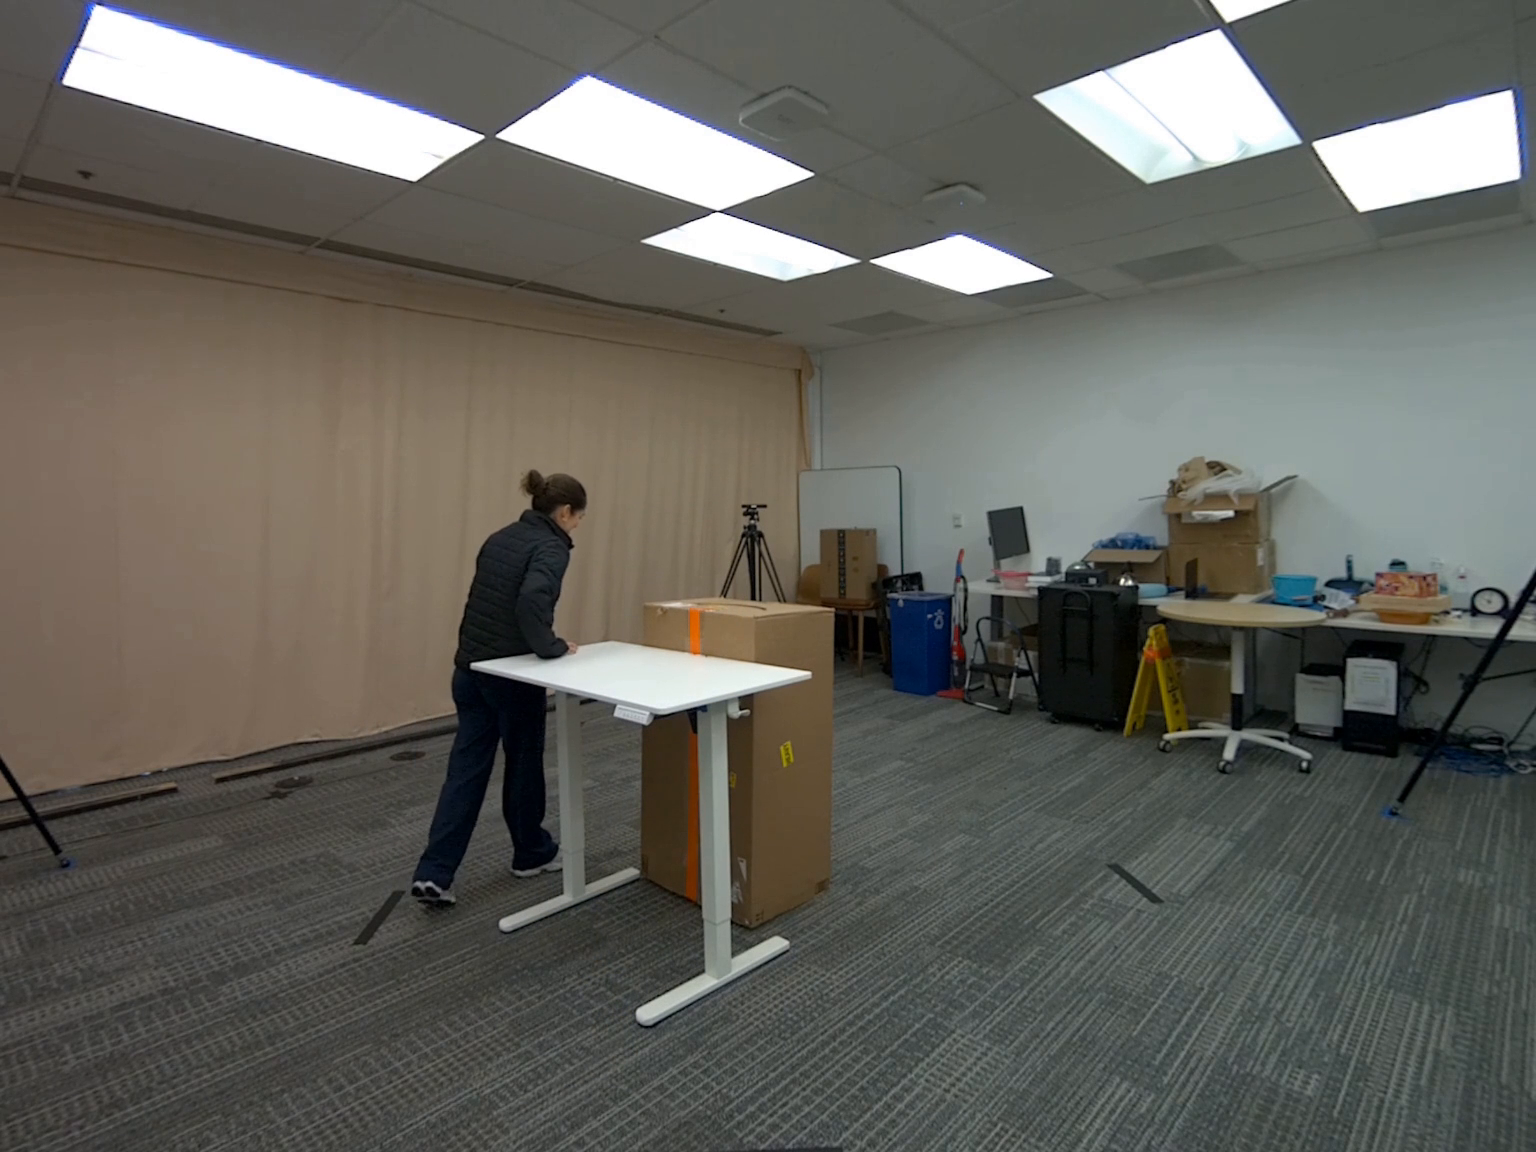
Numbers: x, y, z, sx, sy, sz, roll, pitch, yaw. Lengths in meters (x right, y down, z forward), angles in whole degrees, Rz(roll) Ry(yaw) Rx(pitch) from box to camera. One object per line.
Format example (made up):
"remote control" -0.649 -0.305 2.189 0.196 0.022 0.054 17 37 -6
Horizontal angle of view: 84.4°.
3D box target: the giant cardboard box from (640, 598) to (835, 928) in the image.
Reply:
"giant cardboard box" -0.106 0.618 3.076 0.603 1.025 0.433 3 4 45
